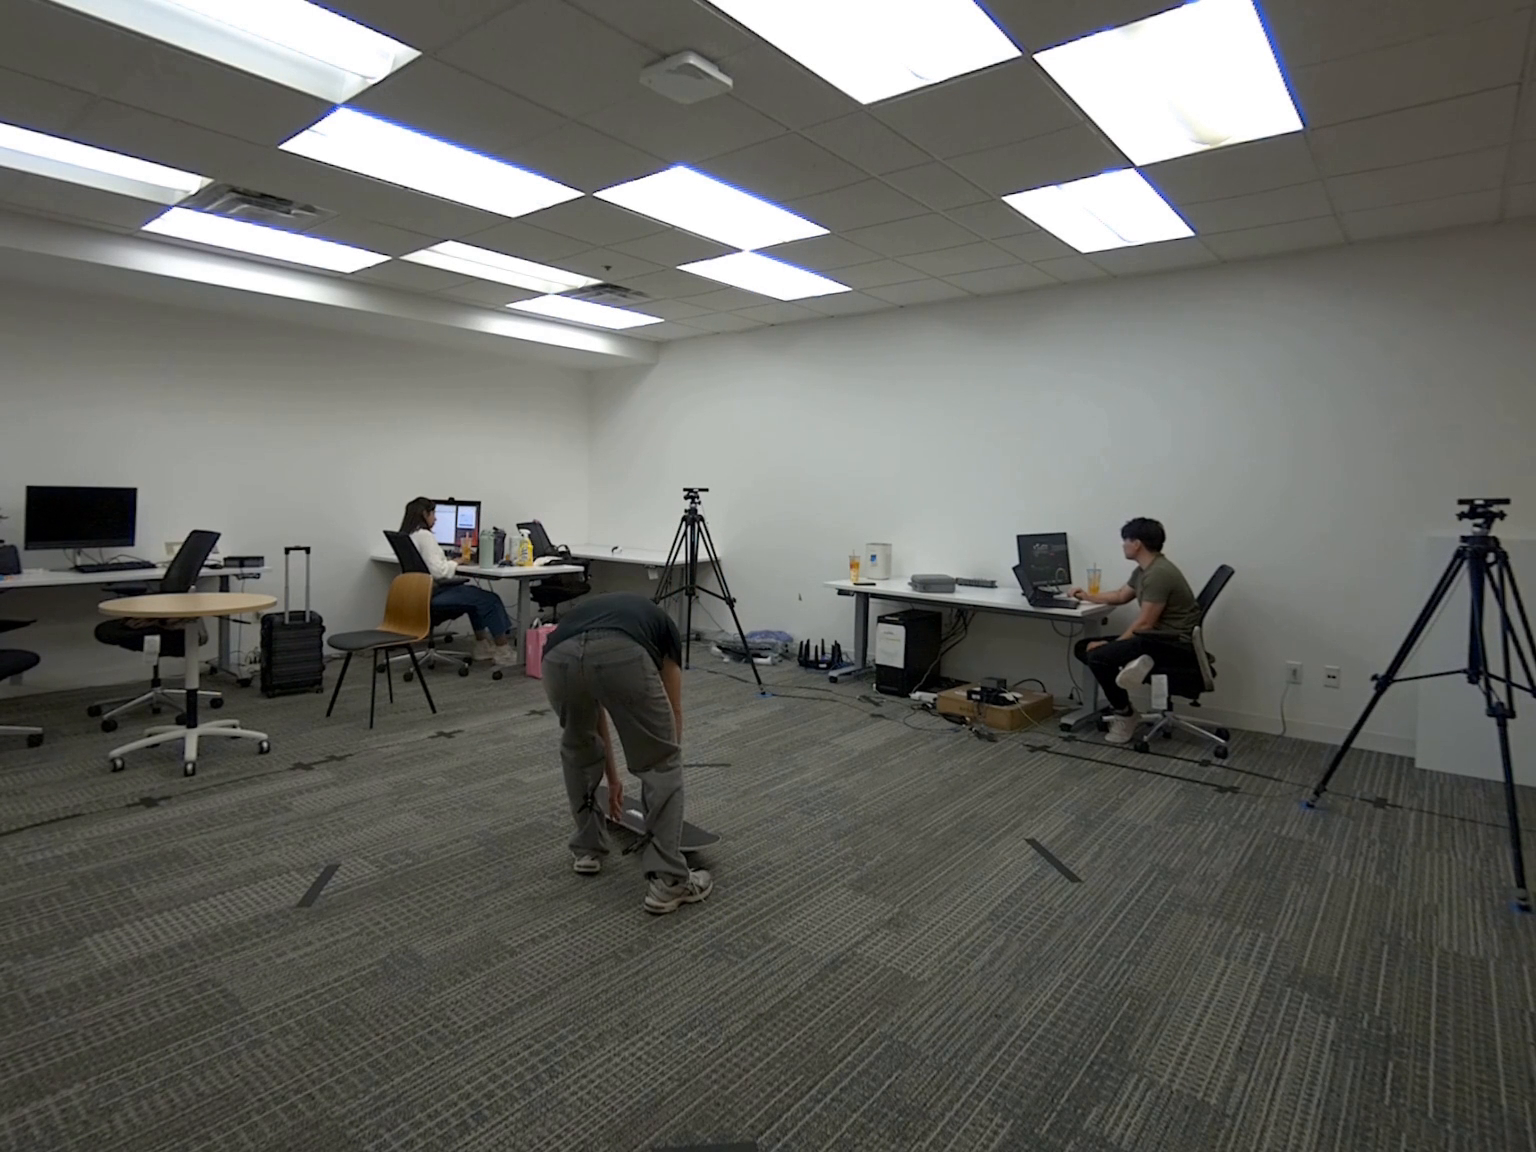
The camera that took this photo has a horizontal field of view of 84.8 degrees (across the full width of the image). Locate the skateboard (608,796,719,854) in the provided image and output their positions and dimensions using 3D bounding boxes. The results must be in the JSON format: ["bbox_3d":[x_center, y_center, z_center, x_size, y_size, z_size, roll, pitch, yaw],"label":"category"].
[{"bbox_3d":[-0.493,0.985,3.357,0.812,0.110,0.187,6,6,44],"label":"skateboard"}]
